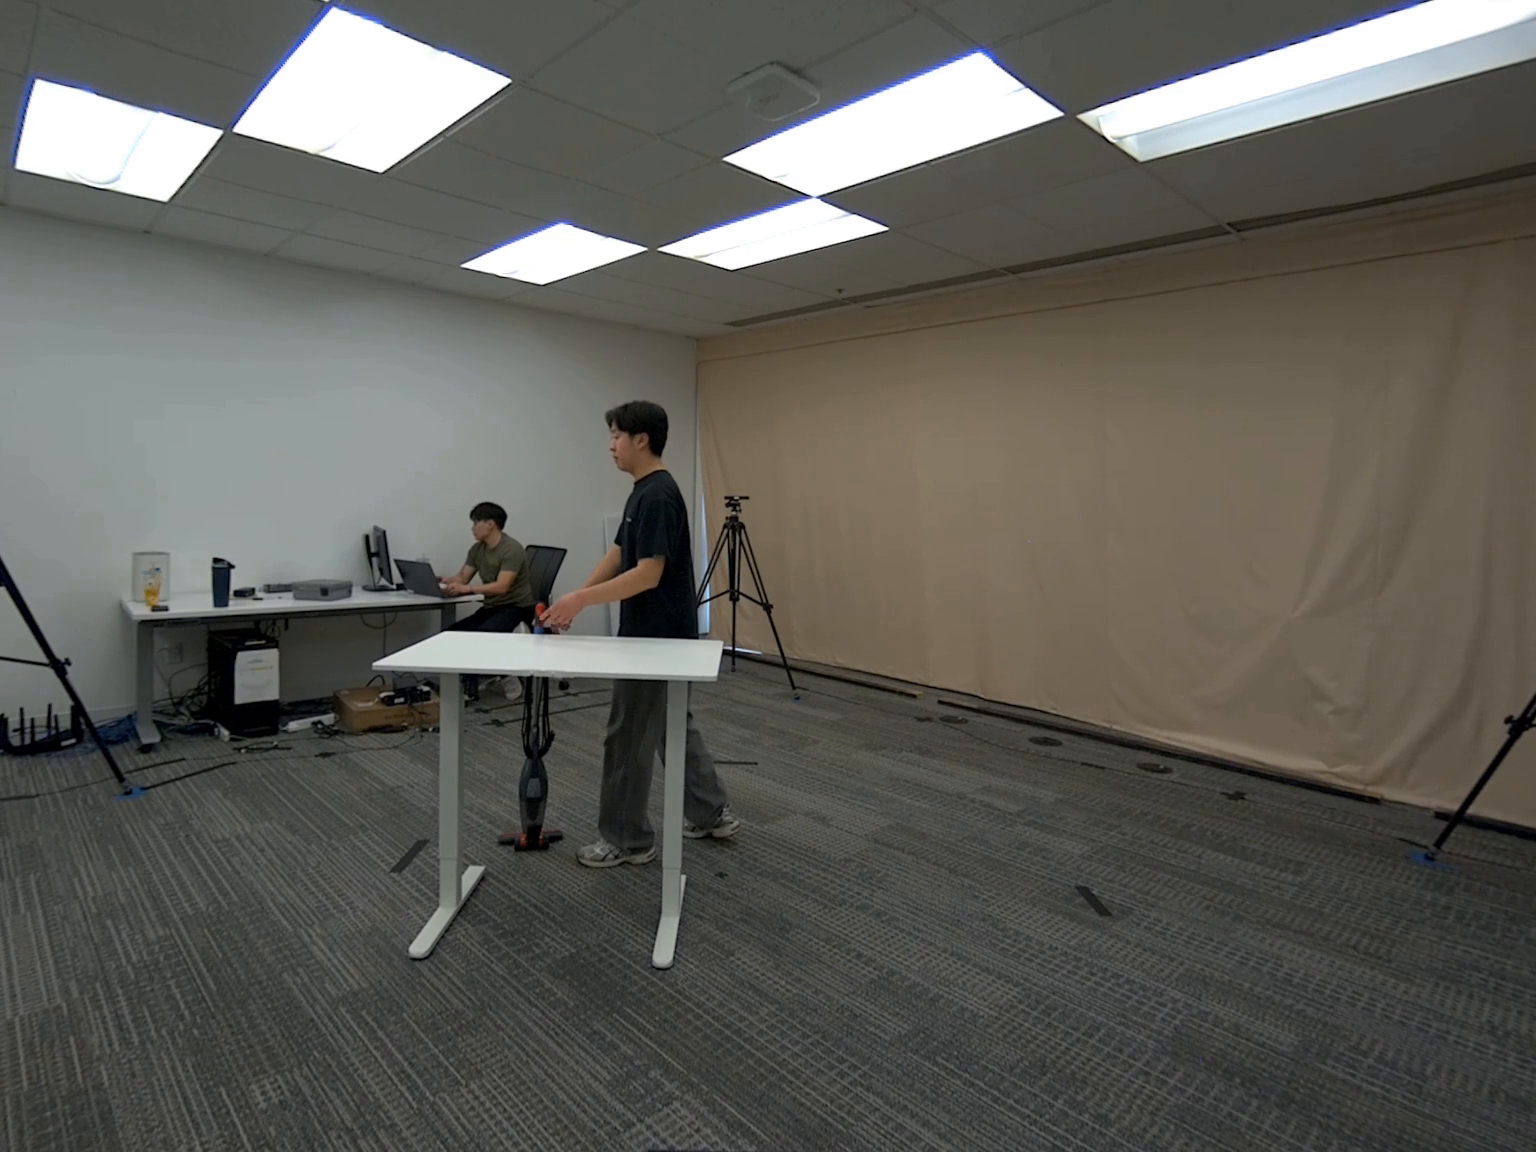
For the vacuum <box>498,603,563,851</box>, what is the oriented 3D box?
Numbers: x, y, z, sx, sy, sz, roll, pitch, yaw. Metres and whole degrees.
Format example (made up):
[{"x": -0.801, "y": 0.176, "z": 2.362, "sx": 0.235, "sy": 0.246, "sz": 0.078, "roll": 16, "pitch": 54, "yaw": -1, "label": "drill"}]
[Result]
[{"x": -0.874, "y": 0.589, "z": 3.151, "sx": 0.248, "sy": 1.036, "sz": 0.148, "roll": 0, "pitch": 23, "yaw": -21, "label": "vacuum"}]
